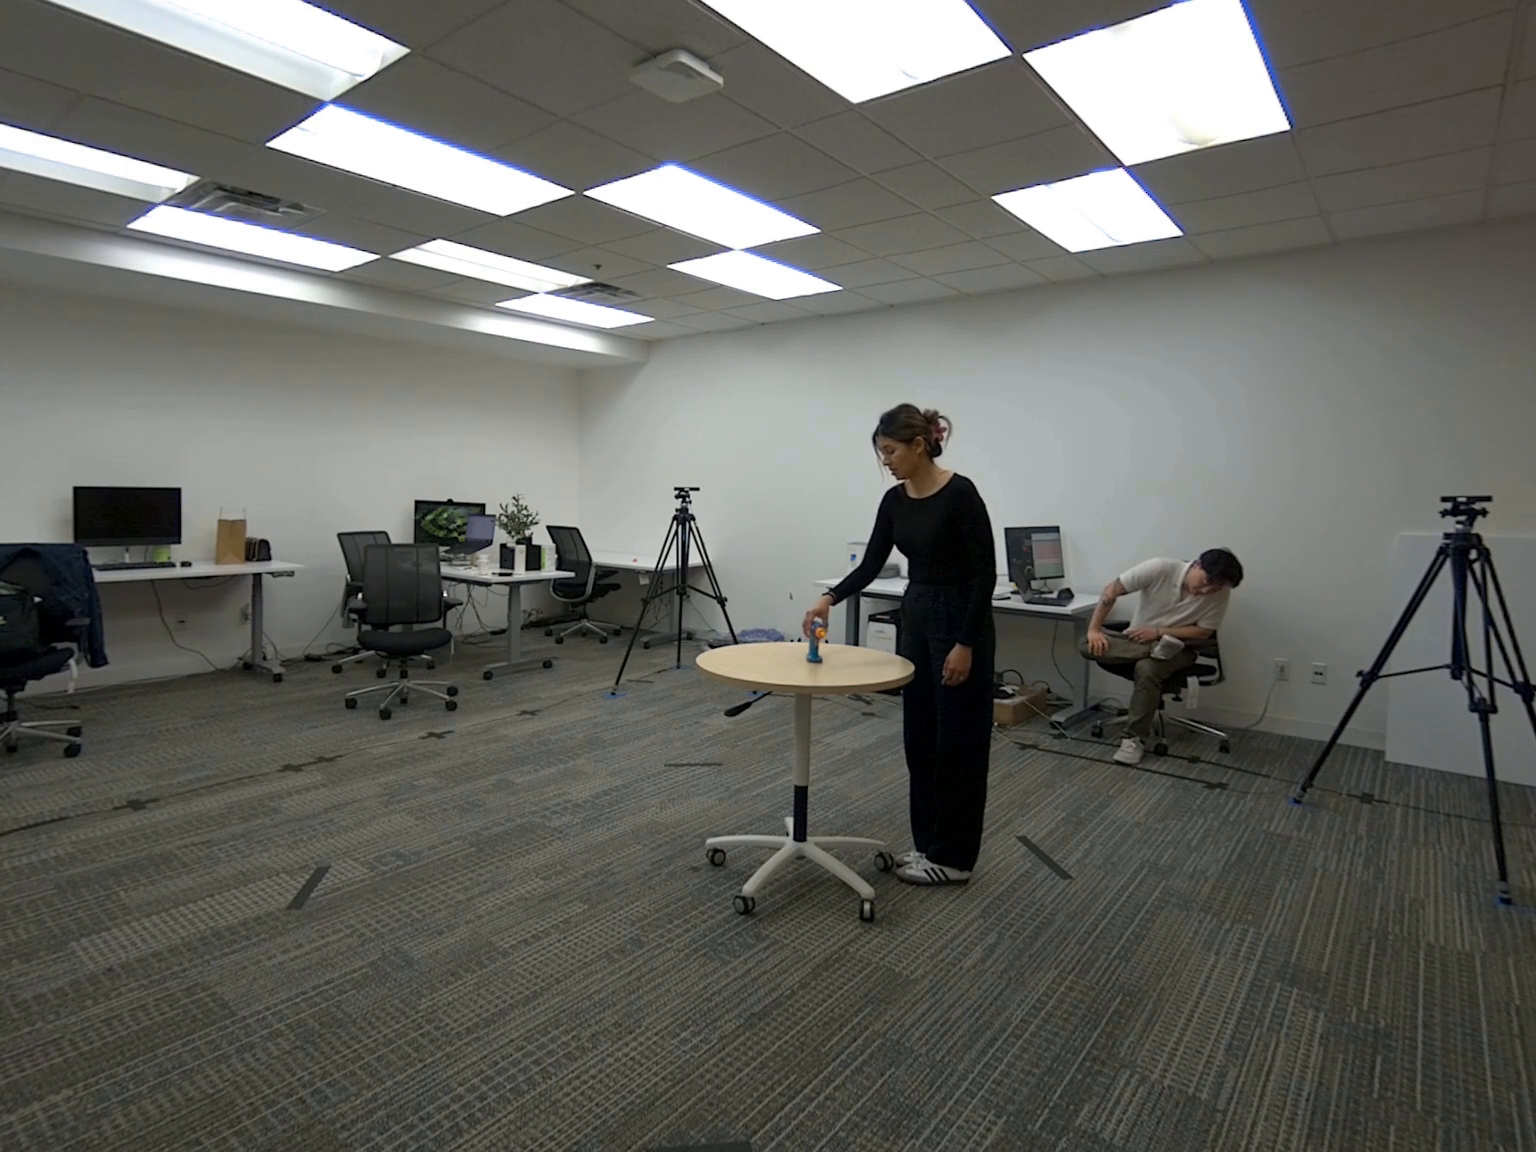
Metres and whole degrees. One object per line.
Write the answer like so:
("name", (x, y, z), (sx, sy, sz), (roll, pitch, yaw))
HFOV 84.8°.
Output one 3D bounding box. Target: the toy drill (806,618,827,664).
("toy drill", (0.167, 0.232, 2.972), (0.060, 0.146, 0.172), (3, 3, -13))
